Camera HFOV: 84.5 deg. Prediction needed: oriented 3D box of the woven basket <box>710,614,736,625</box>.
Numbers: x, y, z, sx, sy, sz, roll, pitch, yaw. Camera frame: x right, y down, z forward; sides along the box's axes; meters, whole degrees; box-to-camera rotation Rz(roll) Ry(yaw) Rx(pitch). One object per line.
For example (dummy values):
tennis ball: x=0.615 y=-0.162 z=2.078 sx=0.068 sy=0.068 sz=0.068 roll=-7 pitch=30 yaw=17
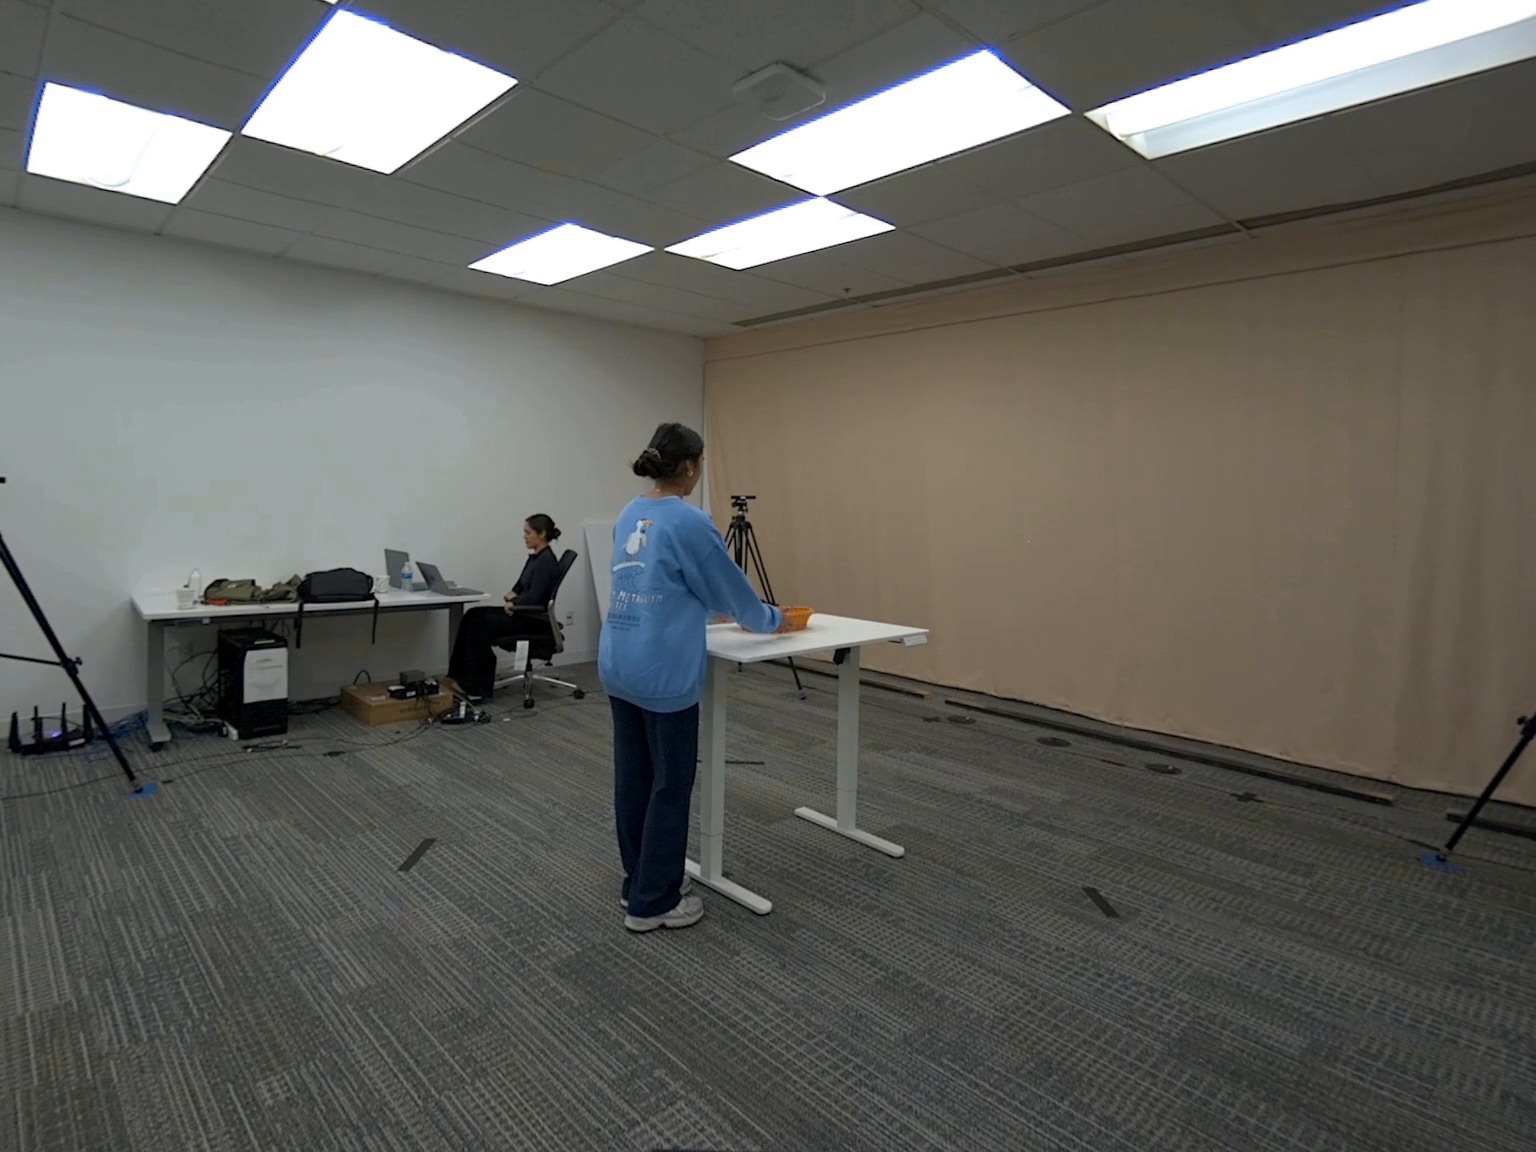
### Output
woven basket: x=0.002 y=0.178 z=3.301 sx=0.342 sy=0.073 sz=0.259 roll=-3 pitch=6 yaw=-42
